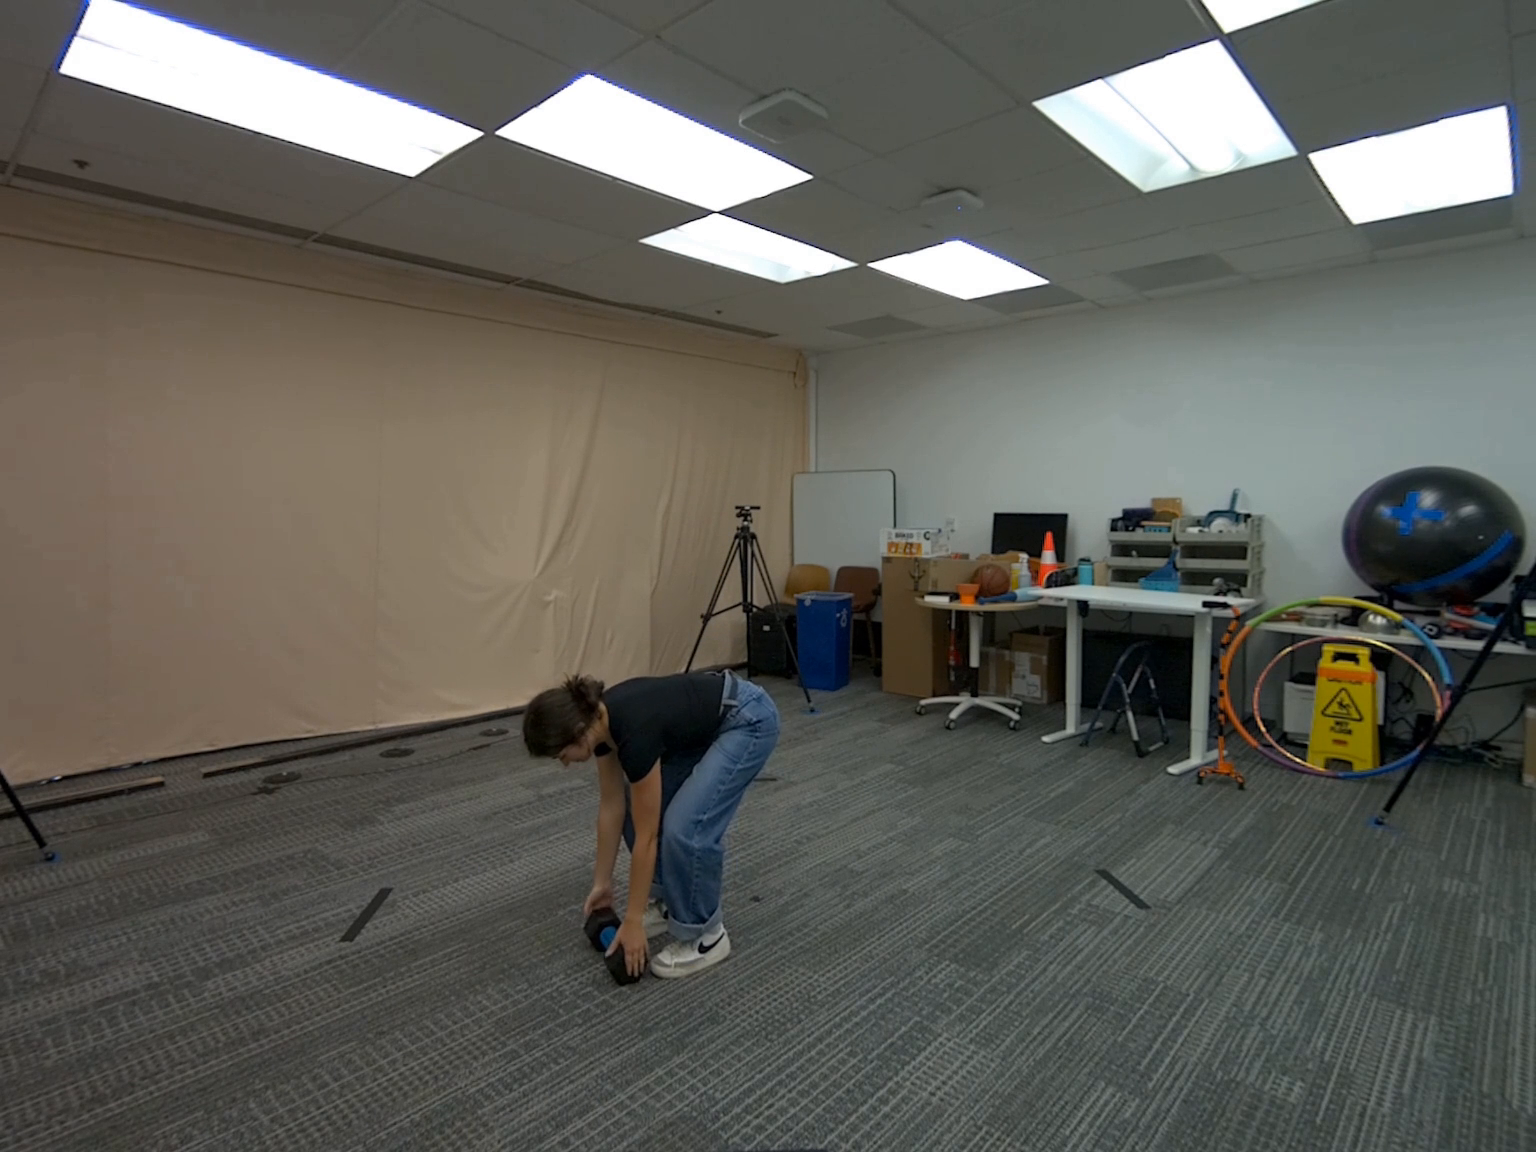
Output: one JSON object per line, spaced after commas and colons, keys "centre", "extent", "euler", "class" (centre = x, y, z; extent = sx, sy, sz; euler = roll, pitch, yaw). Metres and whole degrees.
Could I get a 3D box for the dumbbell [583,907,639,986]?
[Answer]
{"centre": [-0.476, 1.130, 2.573], "extent": [0.107, 0.121, 0.302], "euler": [-35, 20, -22], "class": "dumbbell"}
